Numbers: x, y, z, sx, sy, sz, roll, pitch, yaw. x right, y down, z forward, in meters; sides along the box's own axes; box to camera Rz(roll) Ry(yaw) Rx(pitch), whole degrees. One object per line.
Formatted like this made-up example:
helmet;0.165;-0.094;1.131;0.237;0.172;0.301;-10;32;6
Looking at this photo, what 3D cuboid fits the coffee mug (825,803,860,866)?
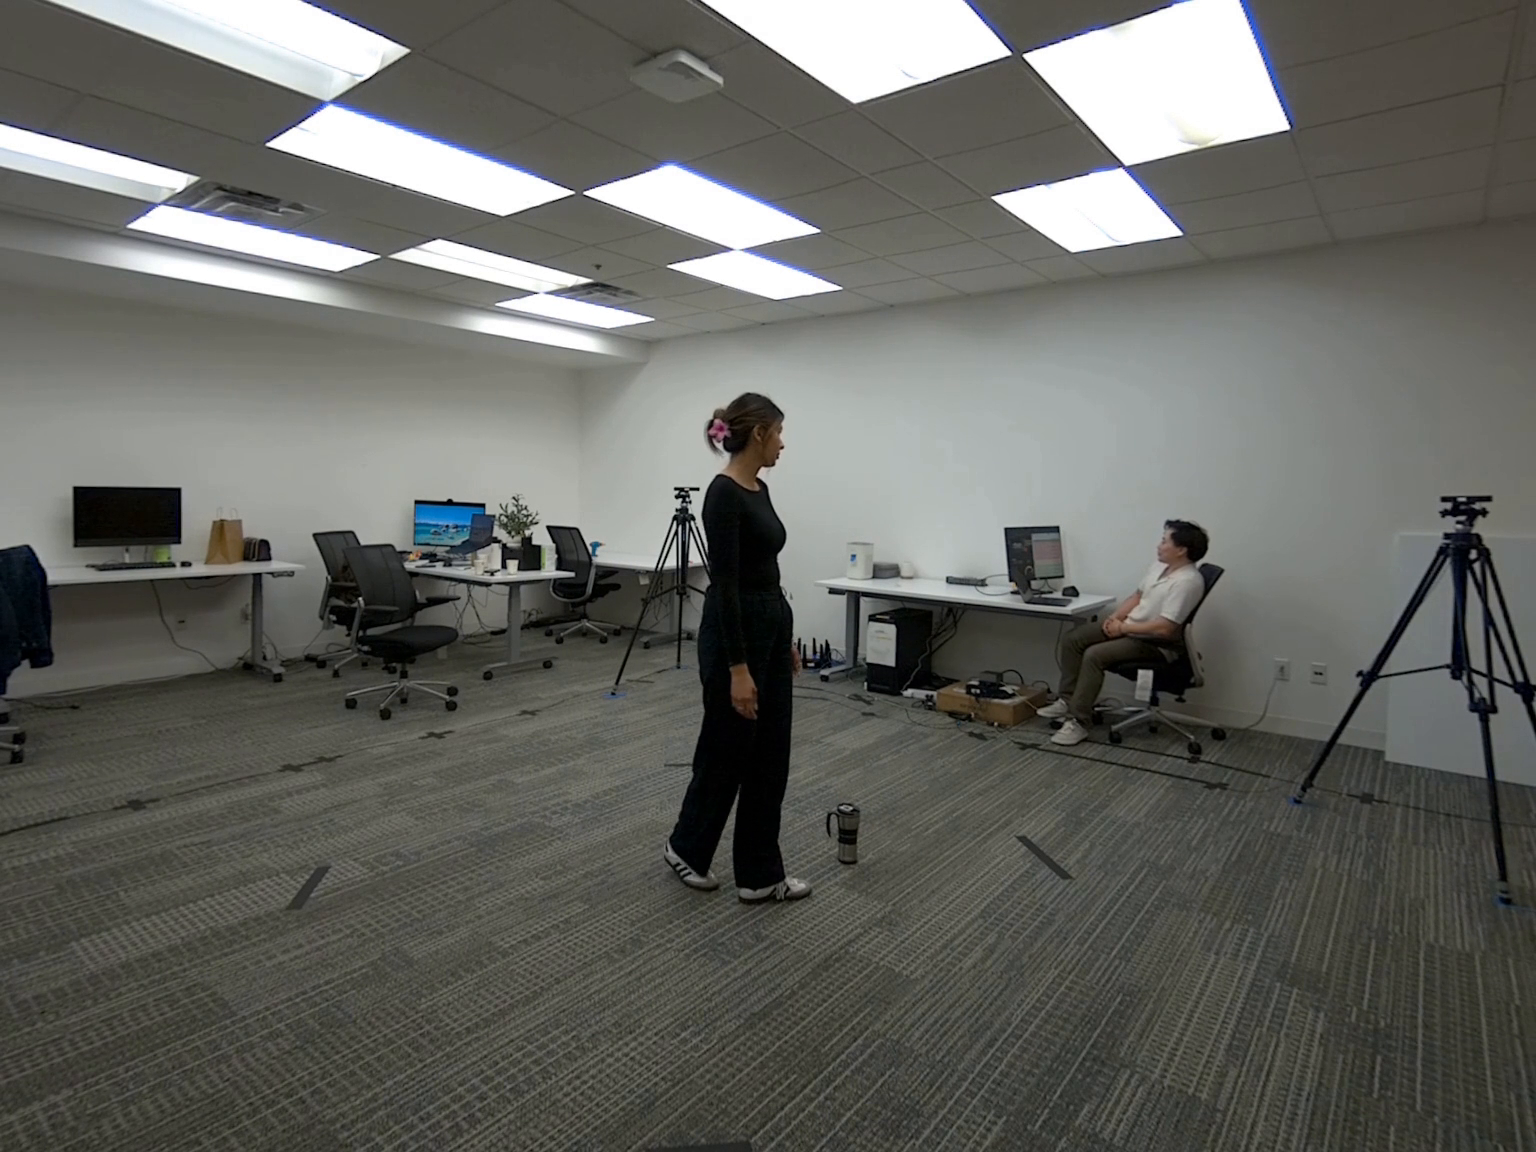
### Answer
coffee mug;0.276;0.973;3.206;0.126;0.201;0.086;7;9;31
